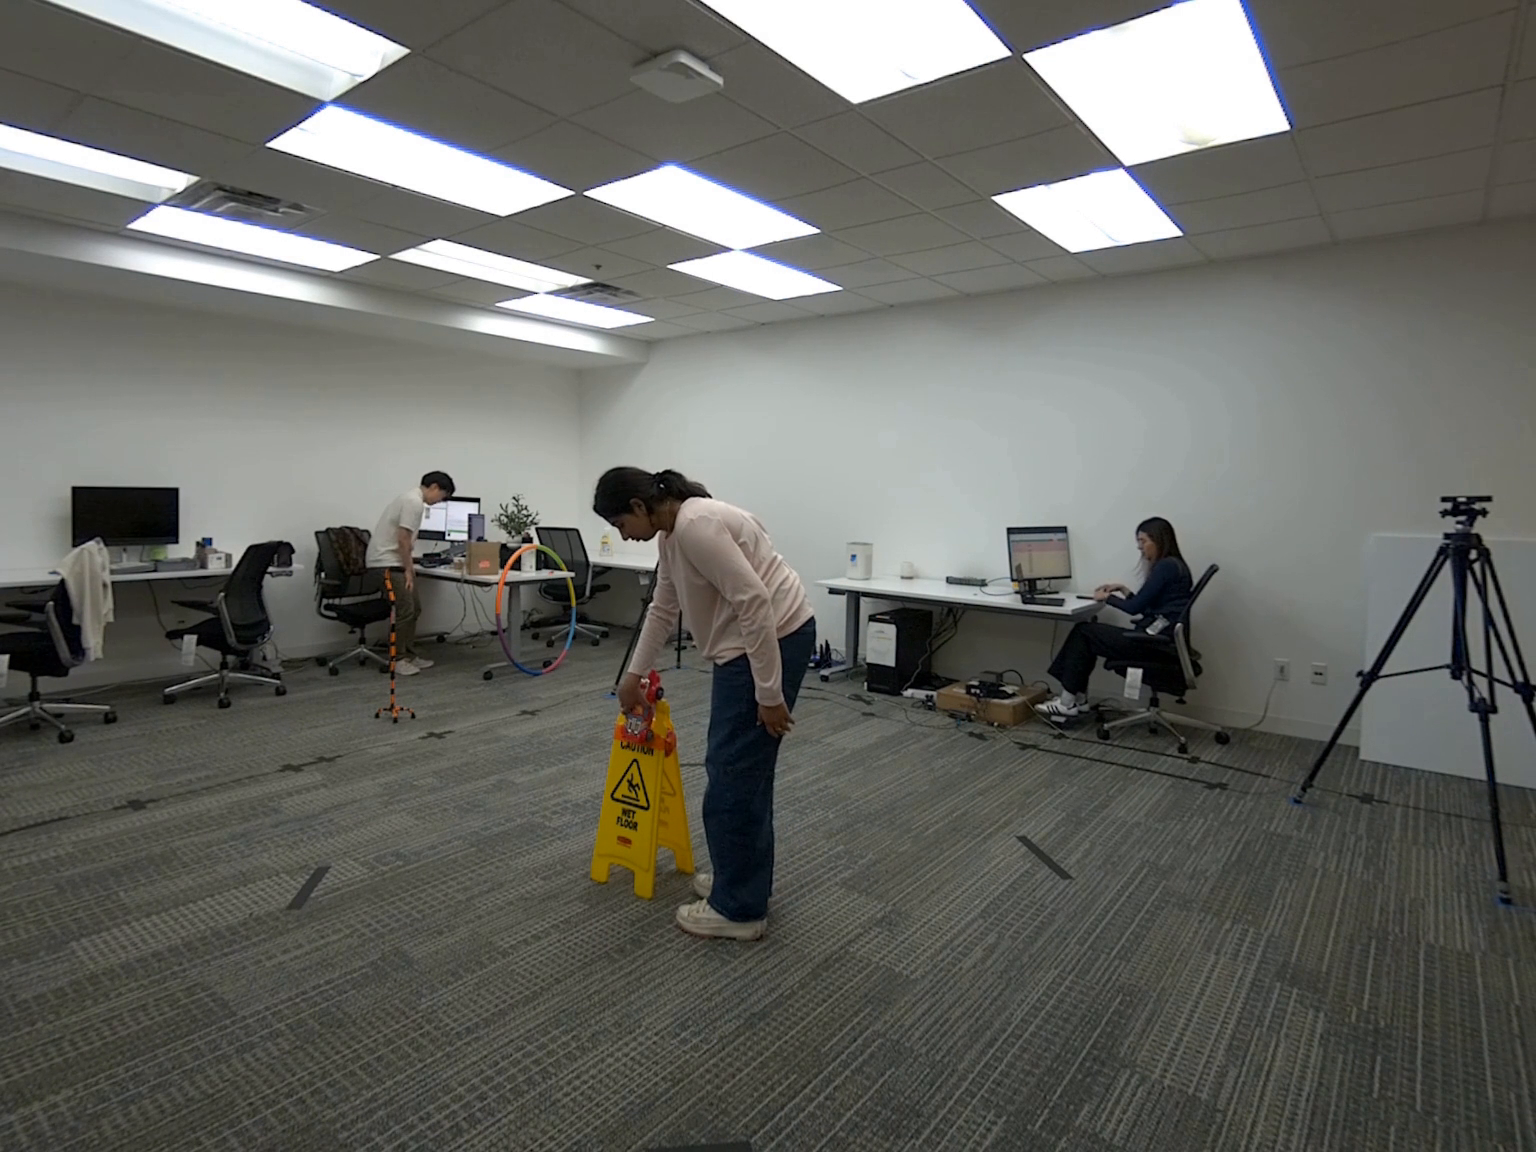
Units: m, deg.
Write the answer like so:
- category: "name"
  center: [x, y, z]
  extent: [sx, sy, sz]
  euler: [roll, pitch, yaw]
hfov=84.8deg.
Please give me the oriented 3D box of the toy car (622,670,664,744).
- category: "toy car"
  center: [-0.453, 0.447, 2.969]
  extent: [0.134, 0.255, 0.080]
  euler: [6, -5, 32]
